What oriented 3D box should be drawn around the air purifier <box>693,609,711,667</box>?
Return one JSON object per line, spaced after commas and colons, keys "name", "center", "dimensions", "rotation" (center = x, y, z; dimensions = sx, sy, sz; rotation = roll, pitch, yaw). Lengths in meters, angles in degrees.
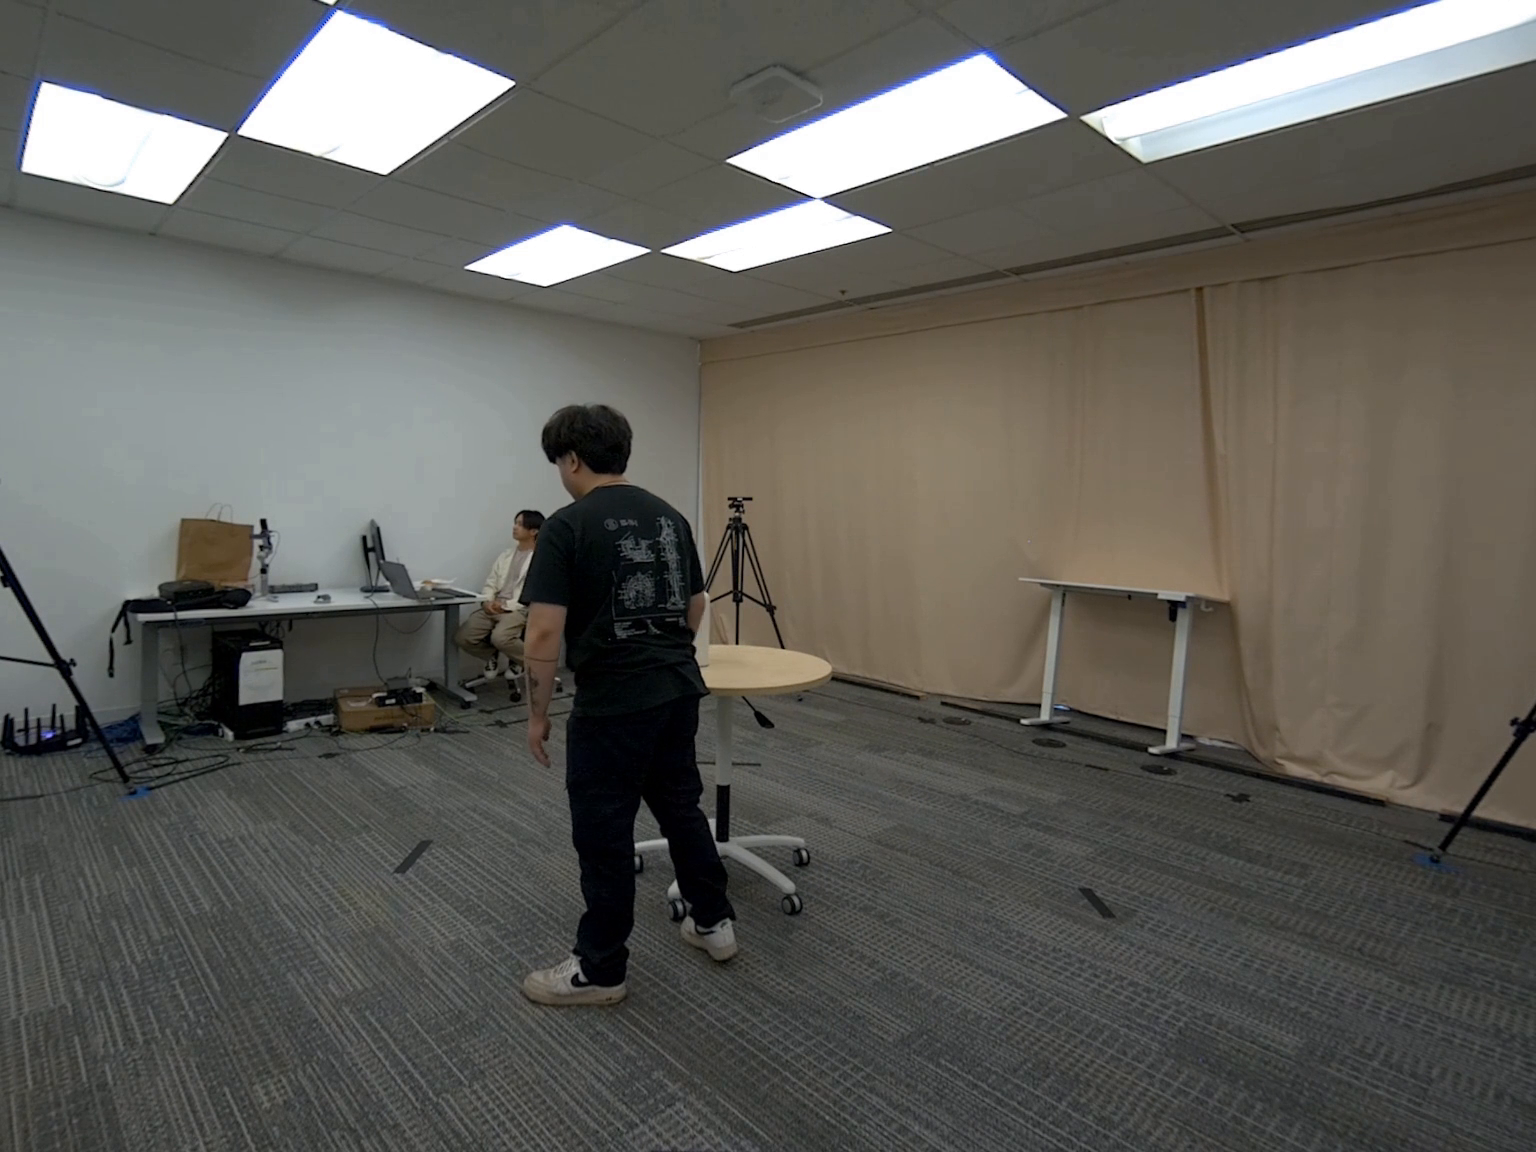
{"name": "air purifier", "center": [-0.311, 0.187, 3.035], "dimensions": [0.168, 0.265, 0.175], "rotation": [-1, 3, -22]}
